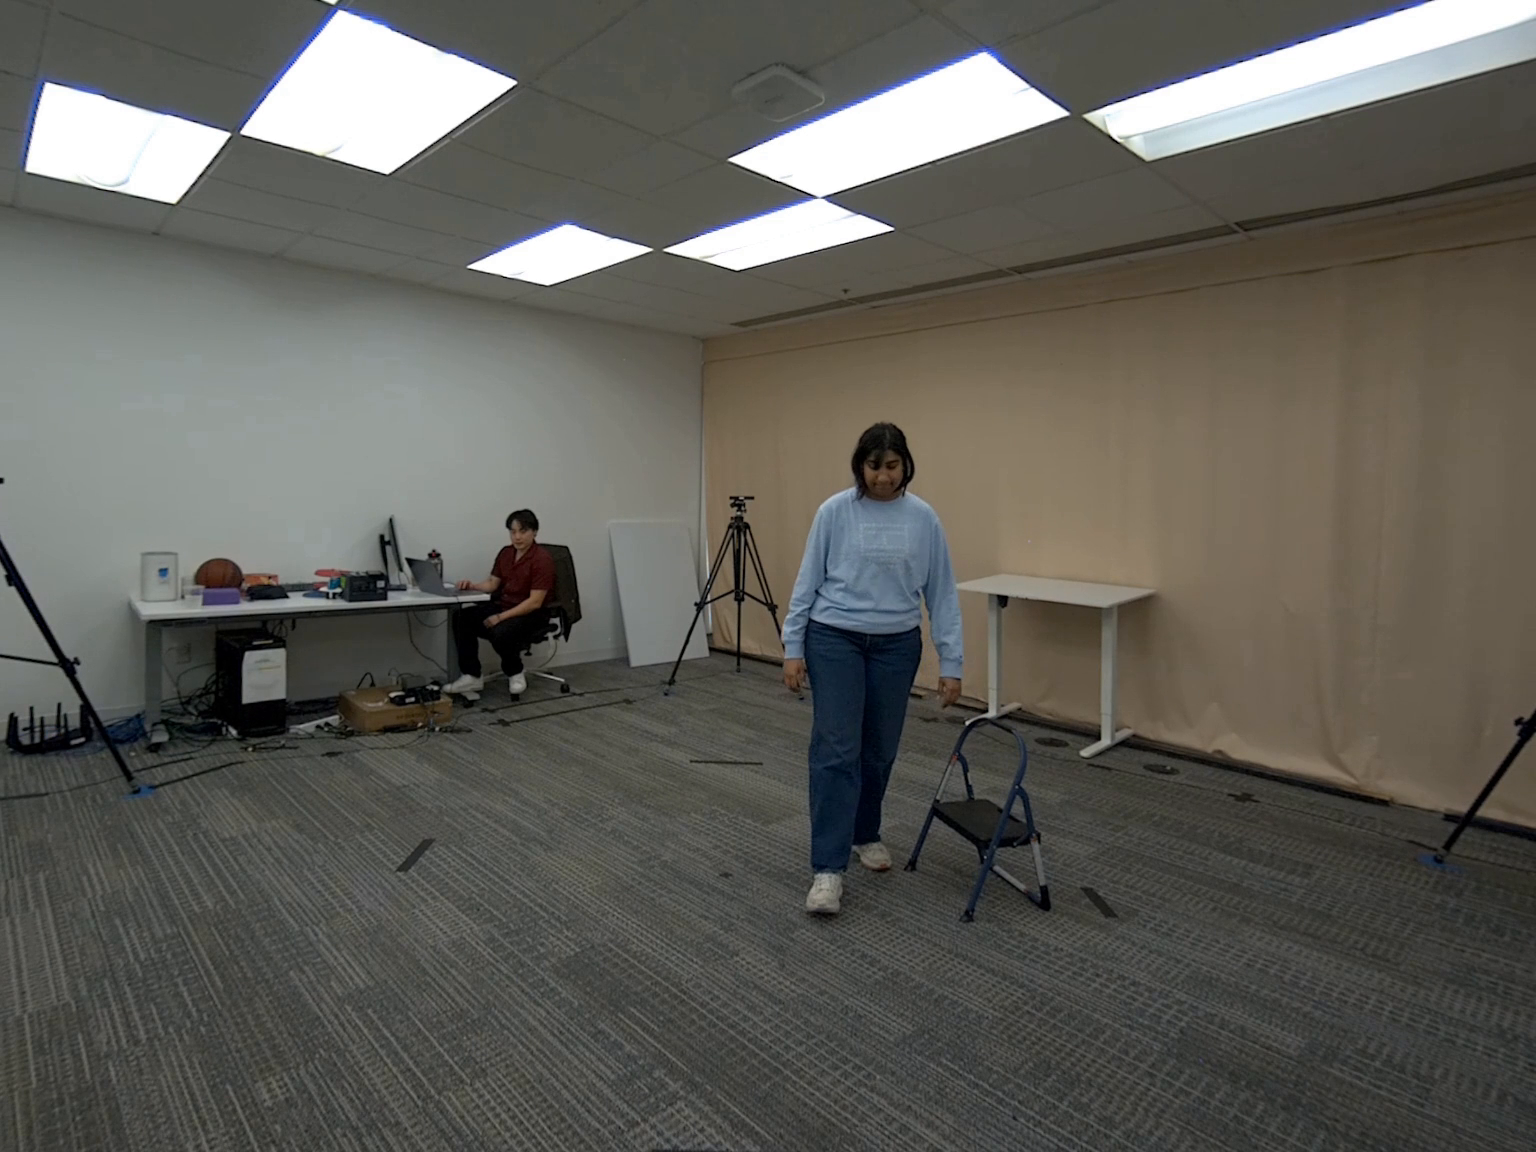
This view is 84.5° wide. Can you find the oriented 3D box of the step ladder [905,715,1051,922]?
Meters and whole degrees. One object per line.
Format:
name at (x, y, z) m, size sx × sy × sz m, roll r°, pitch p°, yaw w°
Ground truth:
step ladder at (0.749, 0.834, 3.030) m, size 0.344 × 0.604 × 0.438 m, roll 1°, pitch 4°, yaw -18°
